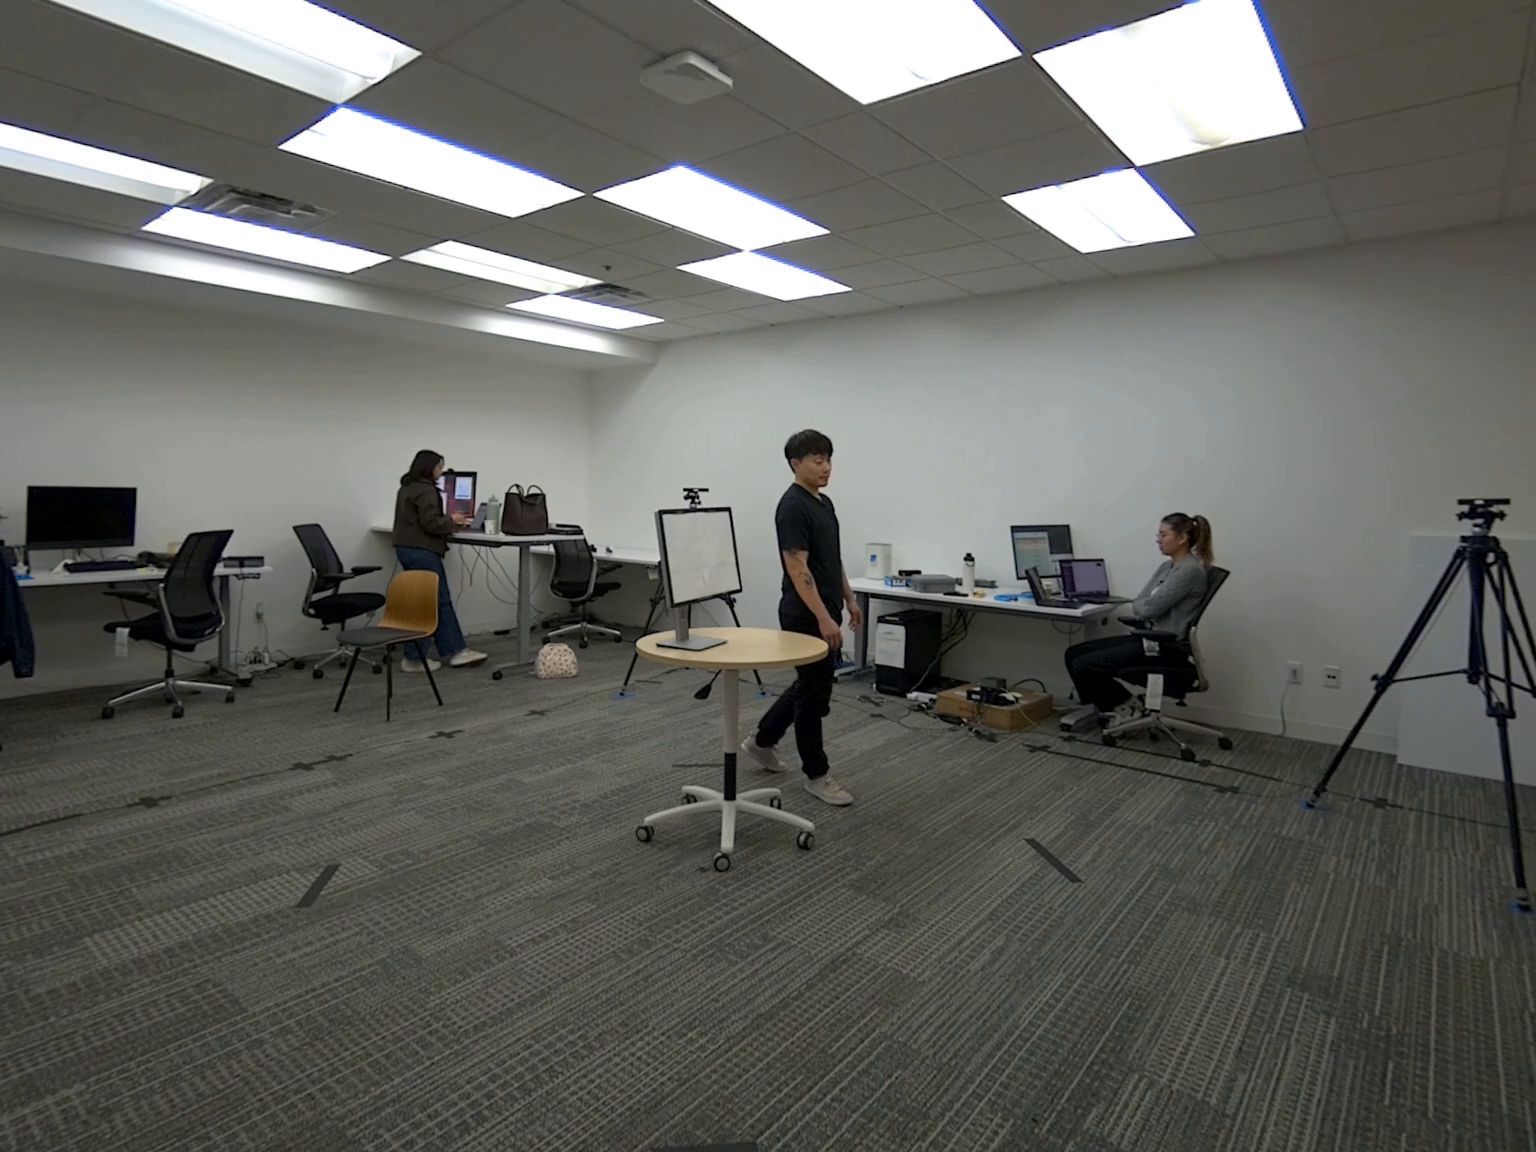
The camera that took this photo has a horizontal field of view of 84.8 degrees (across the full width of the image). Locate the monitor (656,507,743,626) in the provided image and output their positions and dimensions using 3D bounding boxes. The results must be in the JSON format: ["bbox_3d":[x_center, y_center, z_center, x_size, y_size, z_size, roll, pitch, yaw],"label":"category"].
[{"bbox_3d":[-0.306,0.006,3.362,0.192,0.520,0.527,4,6,24],"label":"monitor"}]
